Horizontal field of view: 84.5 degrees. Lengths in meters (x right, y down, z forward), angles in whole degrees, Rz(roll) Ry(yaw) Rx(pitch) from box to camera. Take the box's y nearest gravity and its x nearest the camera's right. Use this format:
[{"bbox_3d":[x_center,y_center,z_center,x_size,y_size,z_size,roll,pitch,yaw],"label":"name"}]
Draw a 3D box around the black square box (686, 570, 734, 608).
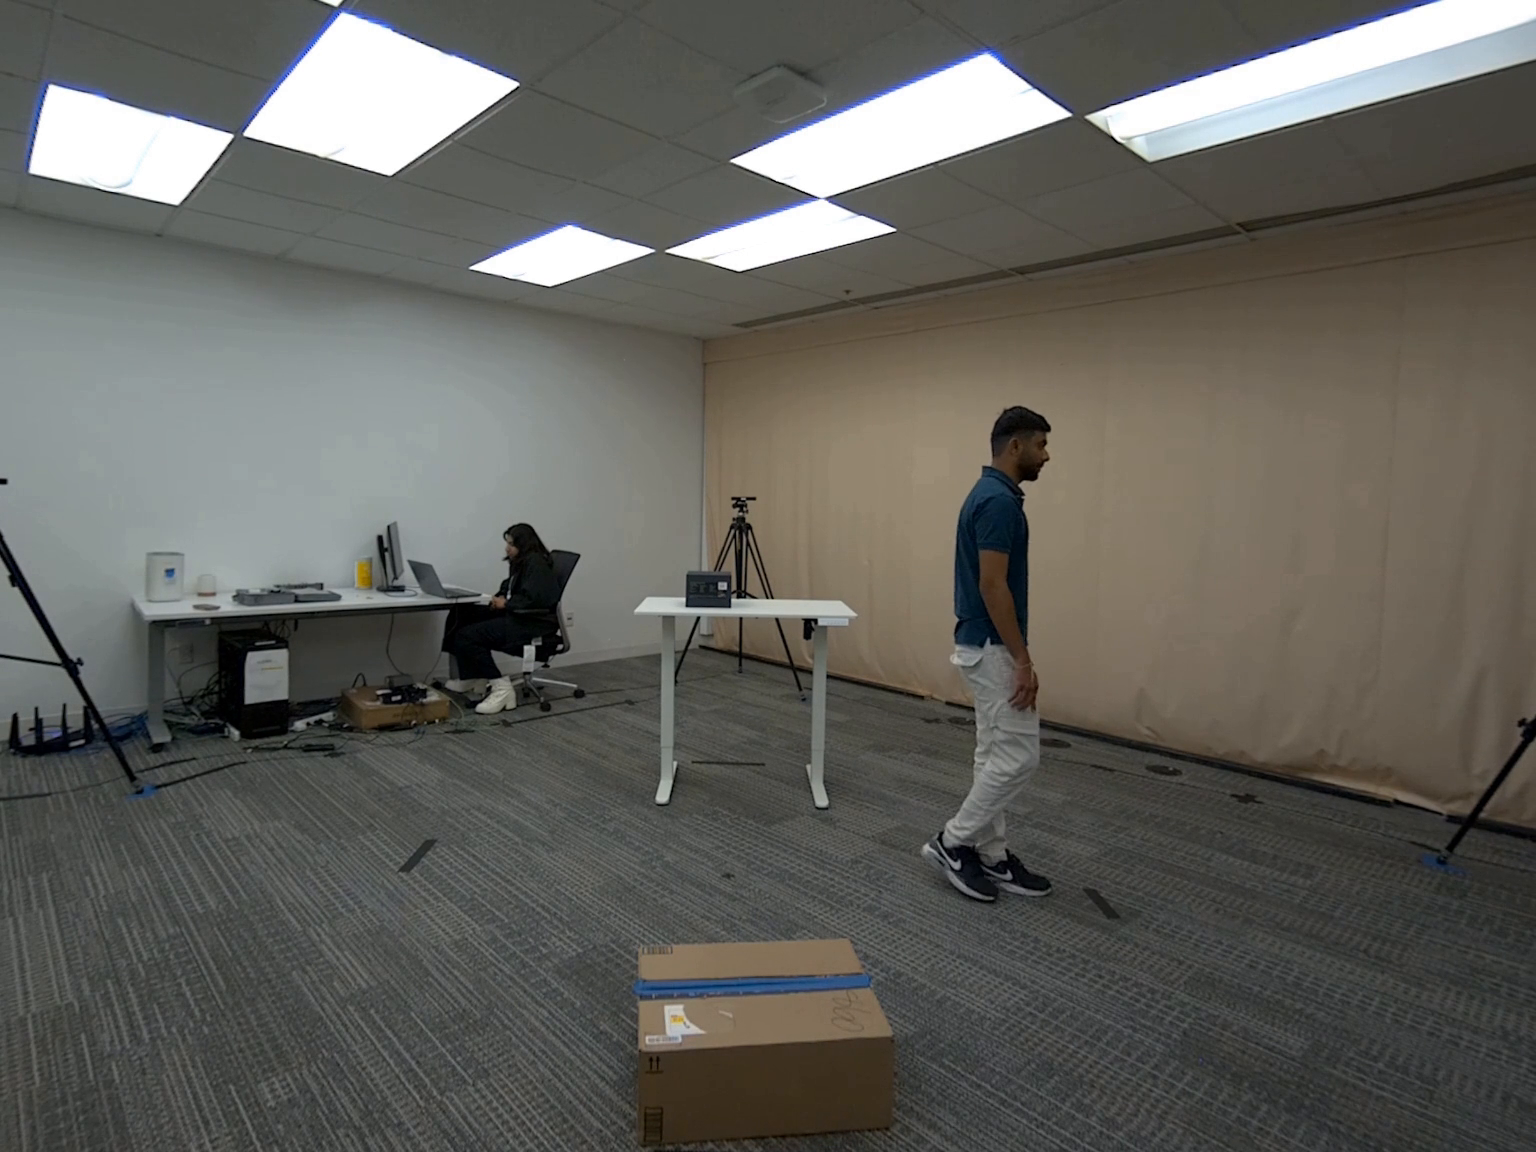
[{"bbox_3d":[-0.280,0.058,4.058,0.216,0.155,0.229,1,4,-3],"label":"black square box"}]
